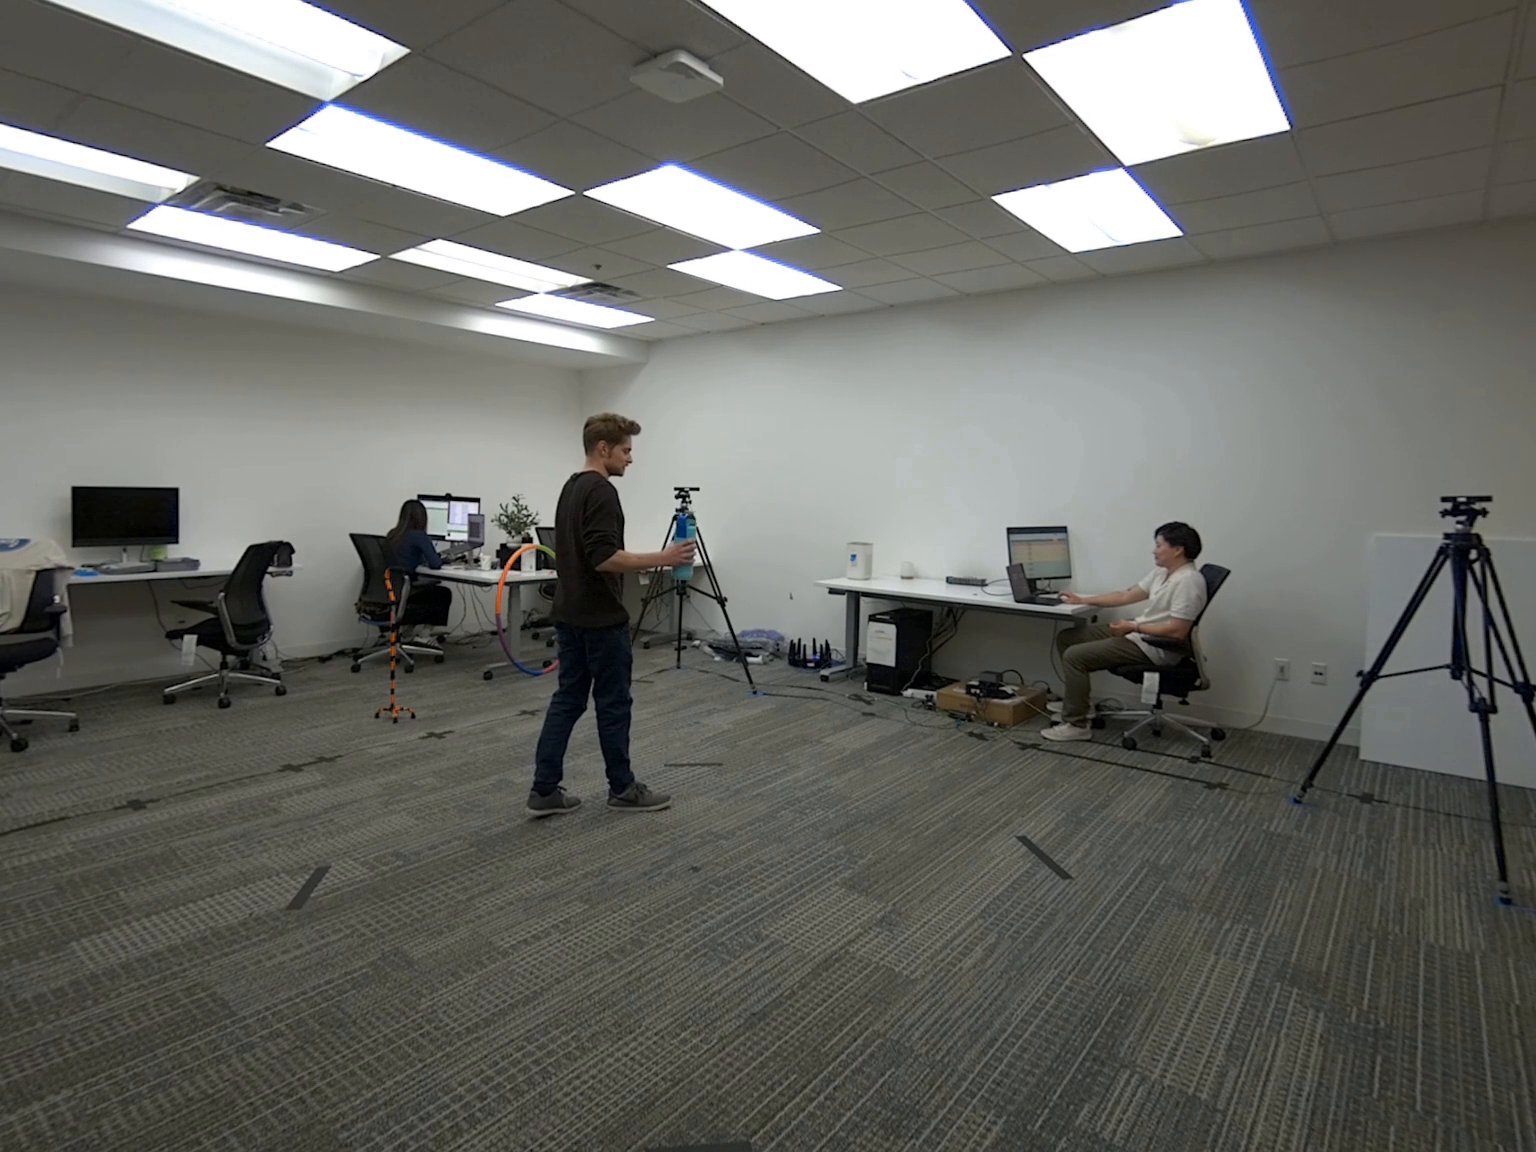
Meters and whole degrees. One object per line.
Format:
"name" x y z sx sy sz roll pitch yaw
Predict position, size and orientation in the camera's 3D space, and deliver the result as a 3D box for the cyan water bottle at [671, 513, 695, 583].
"cyan water bottle" -0.361 -0.133 3.537 0.092 0.281 0.093 5 7 -3
